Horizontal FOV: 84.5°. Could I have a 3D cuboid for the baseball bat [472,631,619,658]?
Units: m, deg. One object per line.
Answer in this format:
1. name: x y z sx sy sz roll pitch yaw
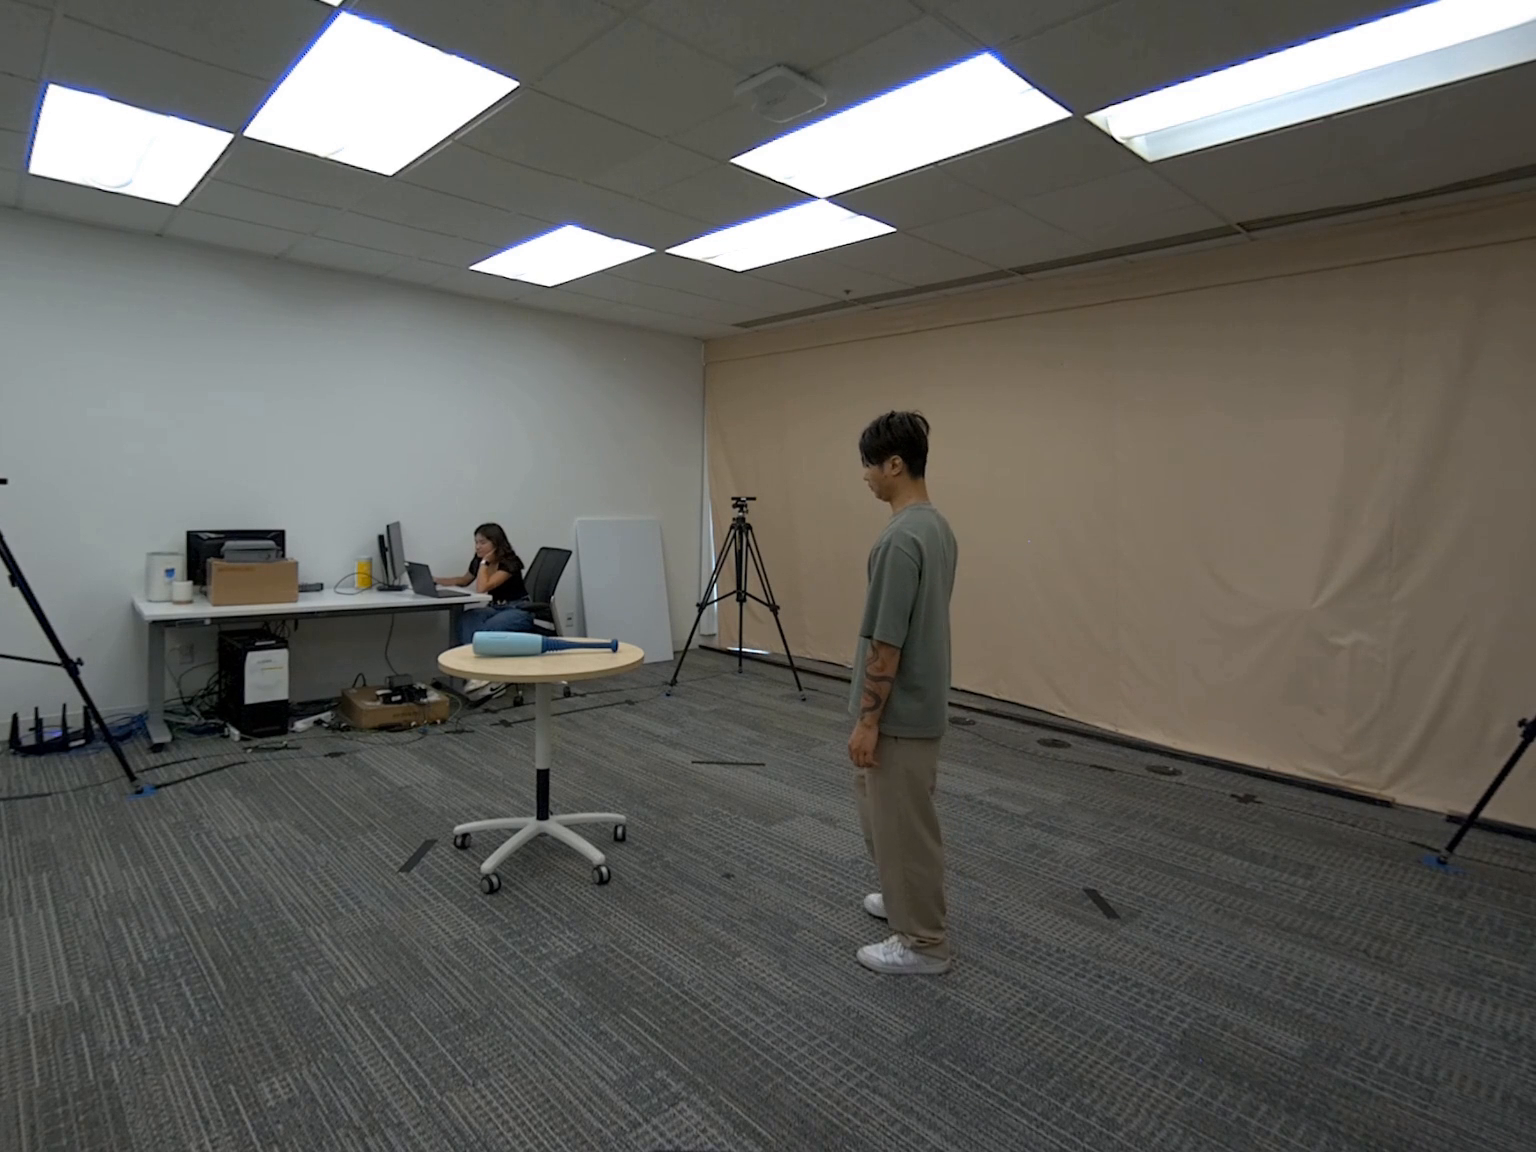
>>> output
1. baseball bat: -0.853 0.264 3.207 0.536 0.089 0.090 2 4 -15
